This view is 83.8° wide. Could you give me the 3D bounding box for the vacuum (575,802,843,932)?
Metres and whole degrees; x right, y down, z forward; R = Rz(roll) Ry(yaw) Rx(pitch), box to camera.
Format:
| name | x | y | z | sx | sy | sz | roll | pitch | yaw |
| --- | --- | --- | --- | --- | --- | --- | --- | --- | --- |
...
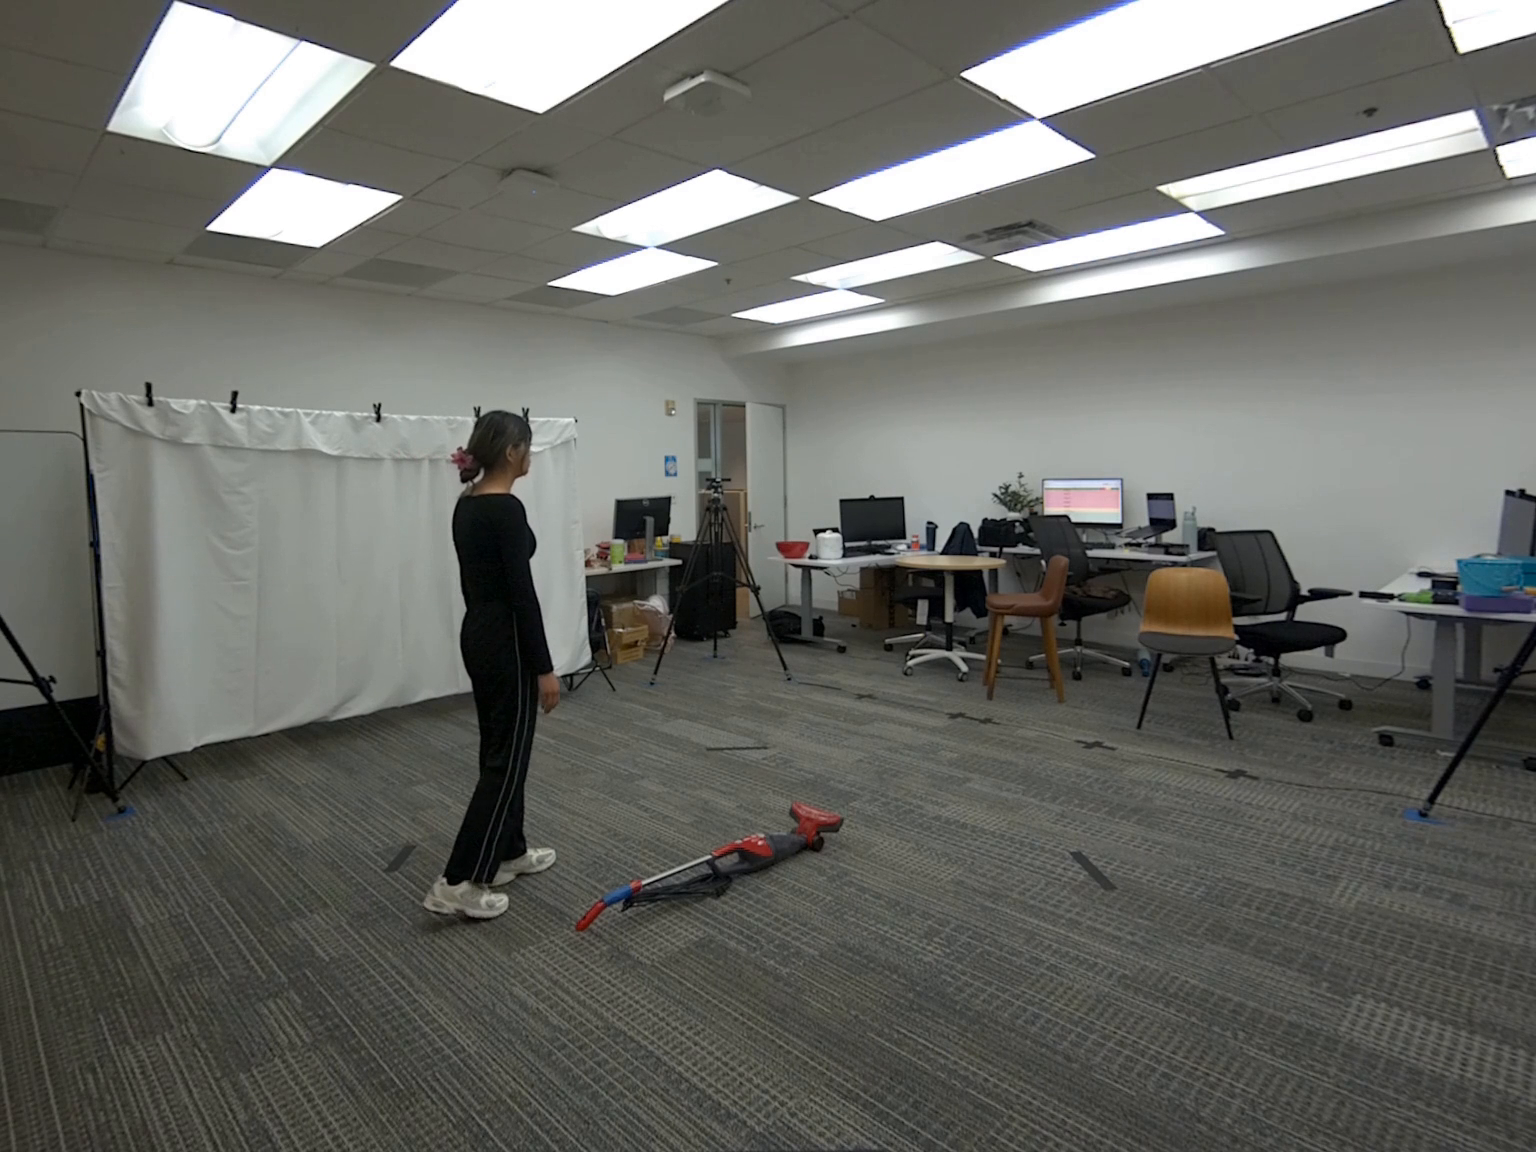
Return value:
| name | x | y | z | sx | sy | sz | roll | pitch | yaw |
| --- | --- | --- | --- | --- | --- | --- | --- | --- | --- |
| vacuum | -0.192 | 1.013 | 2.917 | 1.023 | 0.143 | 0.260 | -9 | 7 | -43 |
